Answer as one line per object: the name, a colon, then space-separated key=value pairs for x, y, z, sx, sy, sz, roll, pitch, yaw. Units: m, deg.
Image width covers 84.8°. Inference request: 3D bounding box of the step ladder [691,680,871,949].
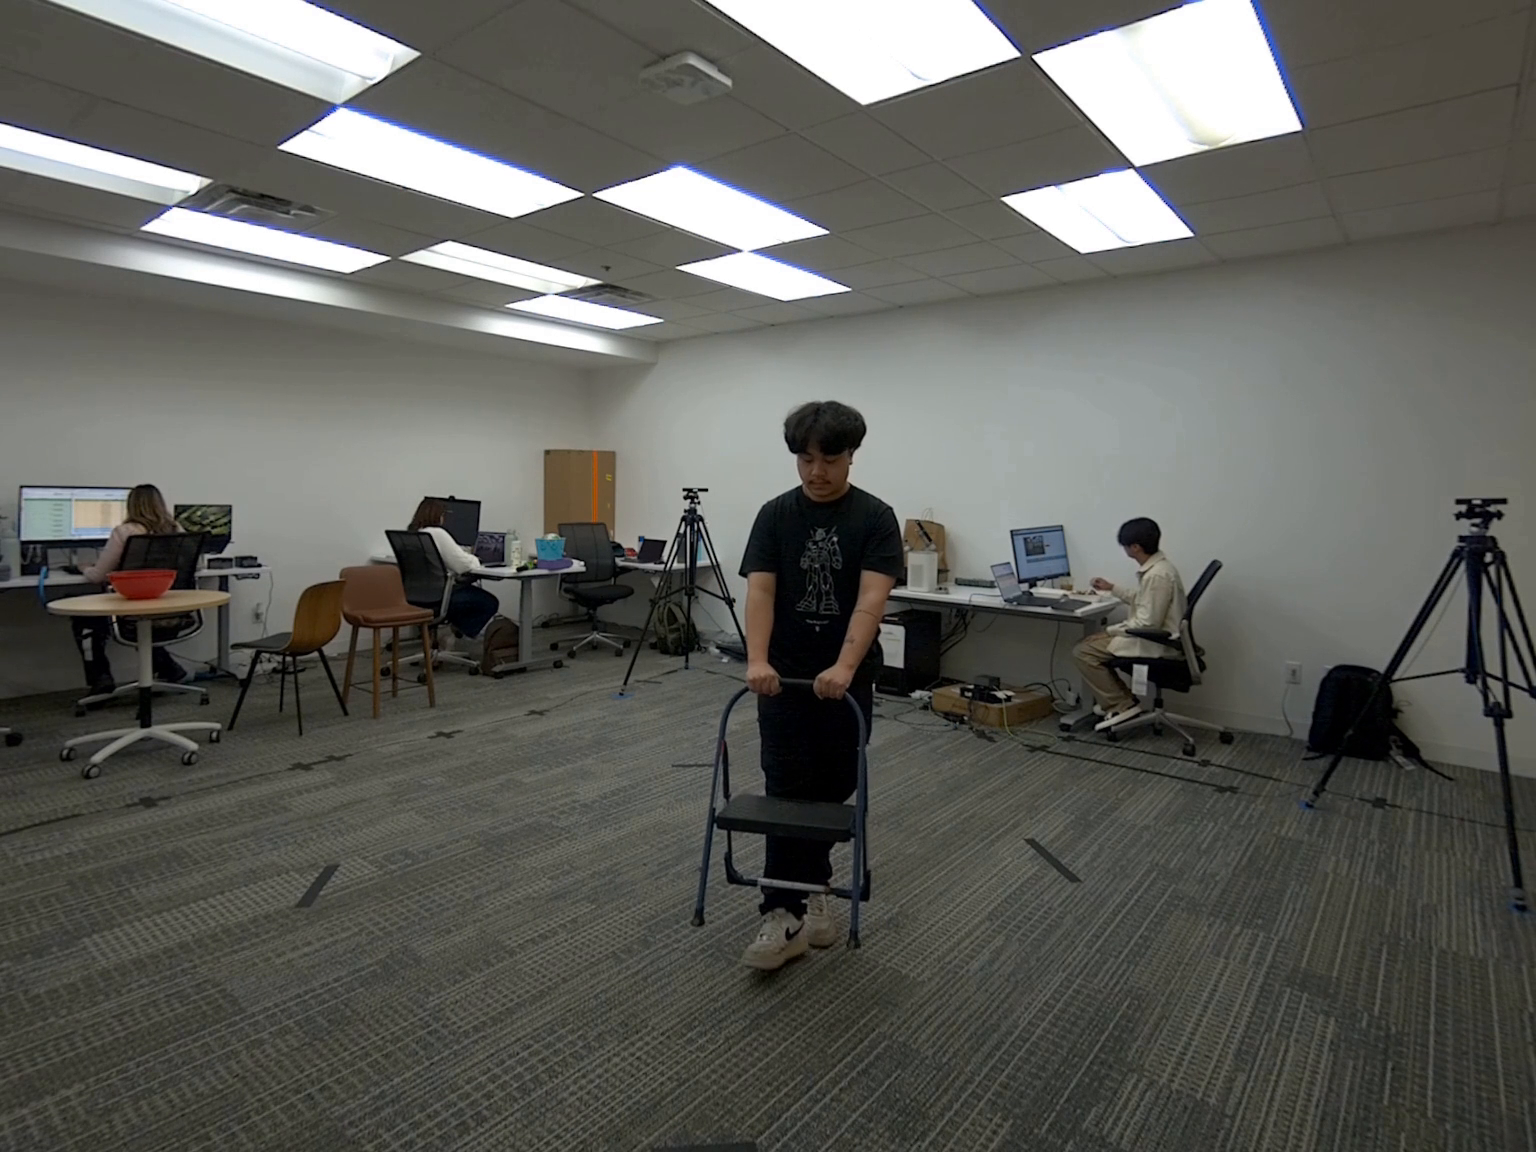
step ladder: x=0.050 y=0.598 z=2.288 sx=0.438 sy=0.608 sz=0.343 roll=1 pitch=-3 yaw=14
